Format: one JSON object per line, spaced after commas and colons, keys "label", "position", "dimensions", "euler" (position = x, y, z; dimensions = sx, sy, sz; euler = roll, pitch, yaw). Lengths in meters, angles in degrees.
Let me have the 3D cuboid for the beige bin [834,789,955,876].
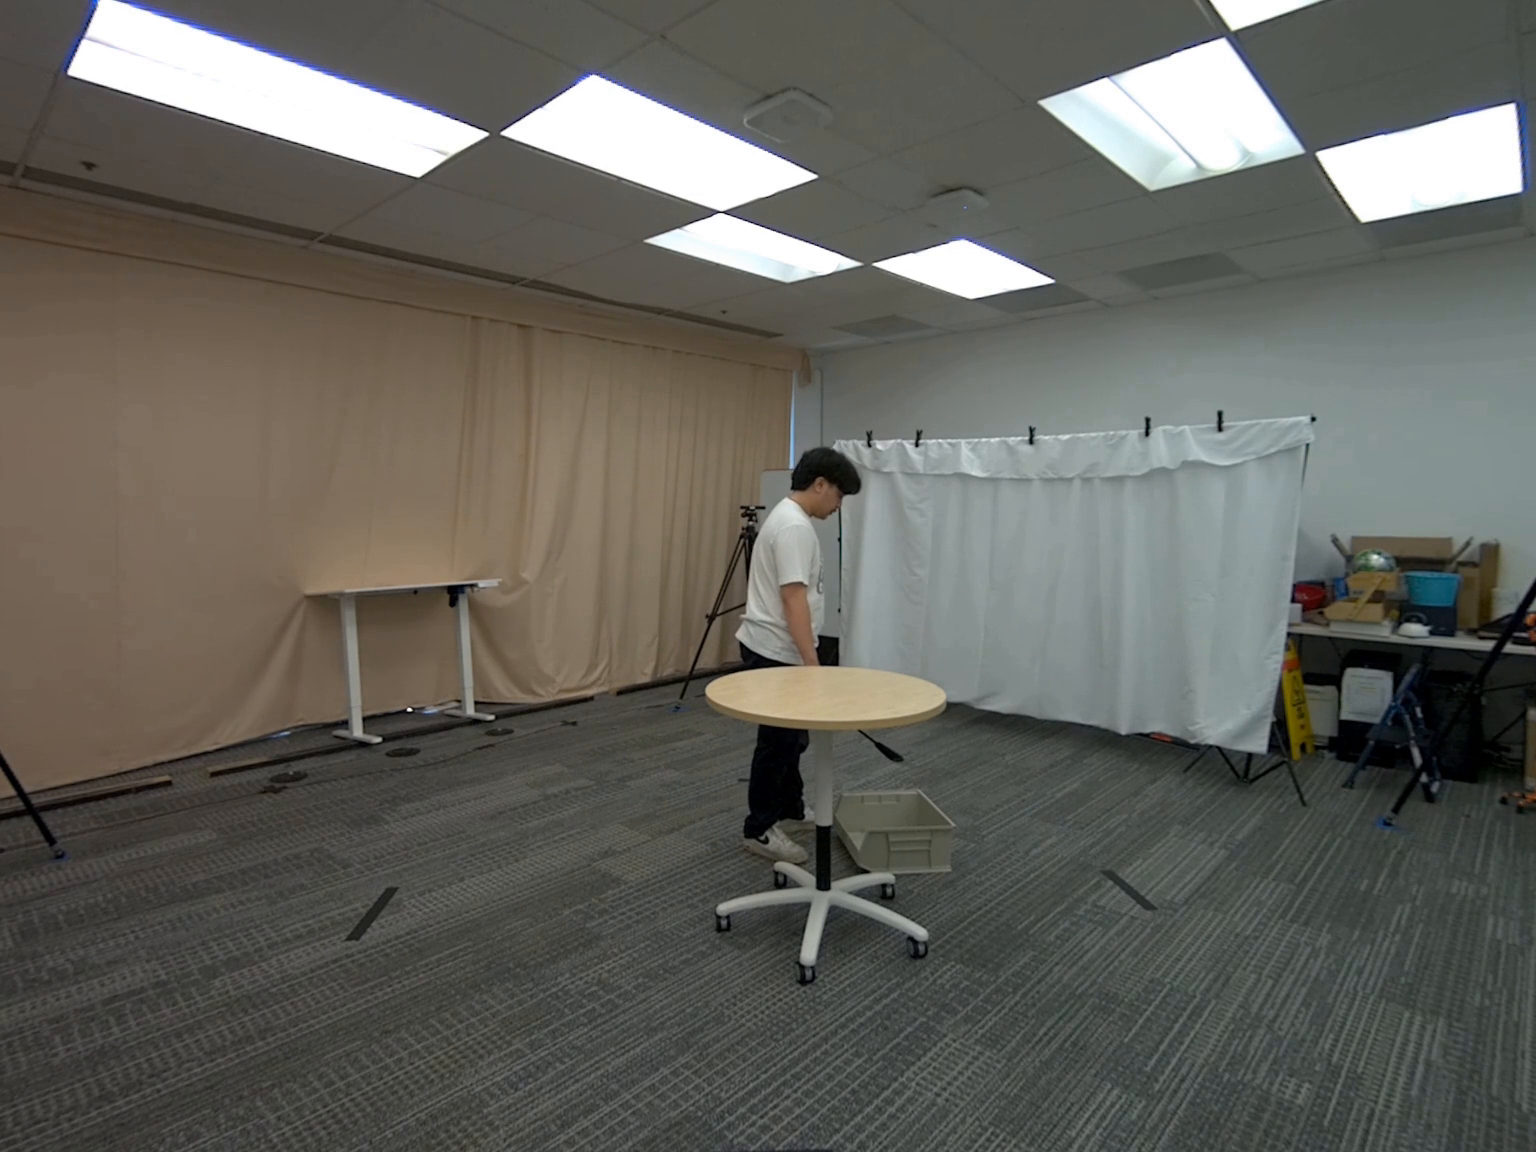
{"label": "beige bin", "position": [0.501, 1.024, 3.383], "dimensions": [0.374, 0.188, 0.426], "euler": [0, 4, -8]}
